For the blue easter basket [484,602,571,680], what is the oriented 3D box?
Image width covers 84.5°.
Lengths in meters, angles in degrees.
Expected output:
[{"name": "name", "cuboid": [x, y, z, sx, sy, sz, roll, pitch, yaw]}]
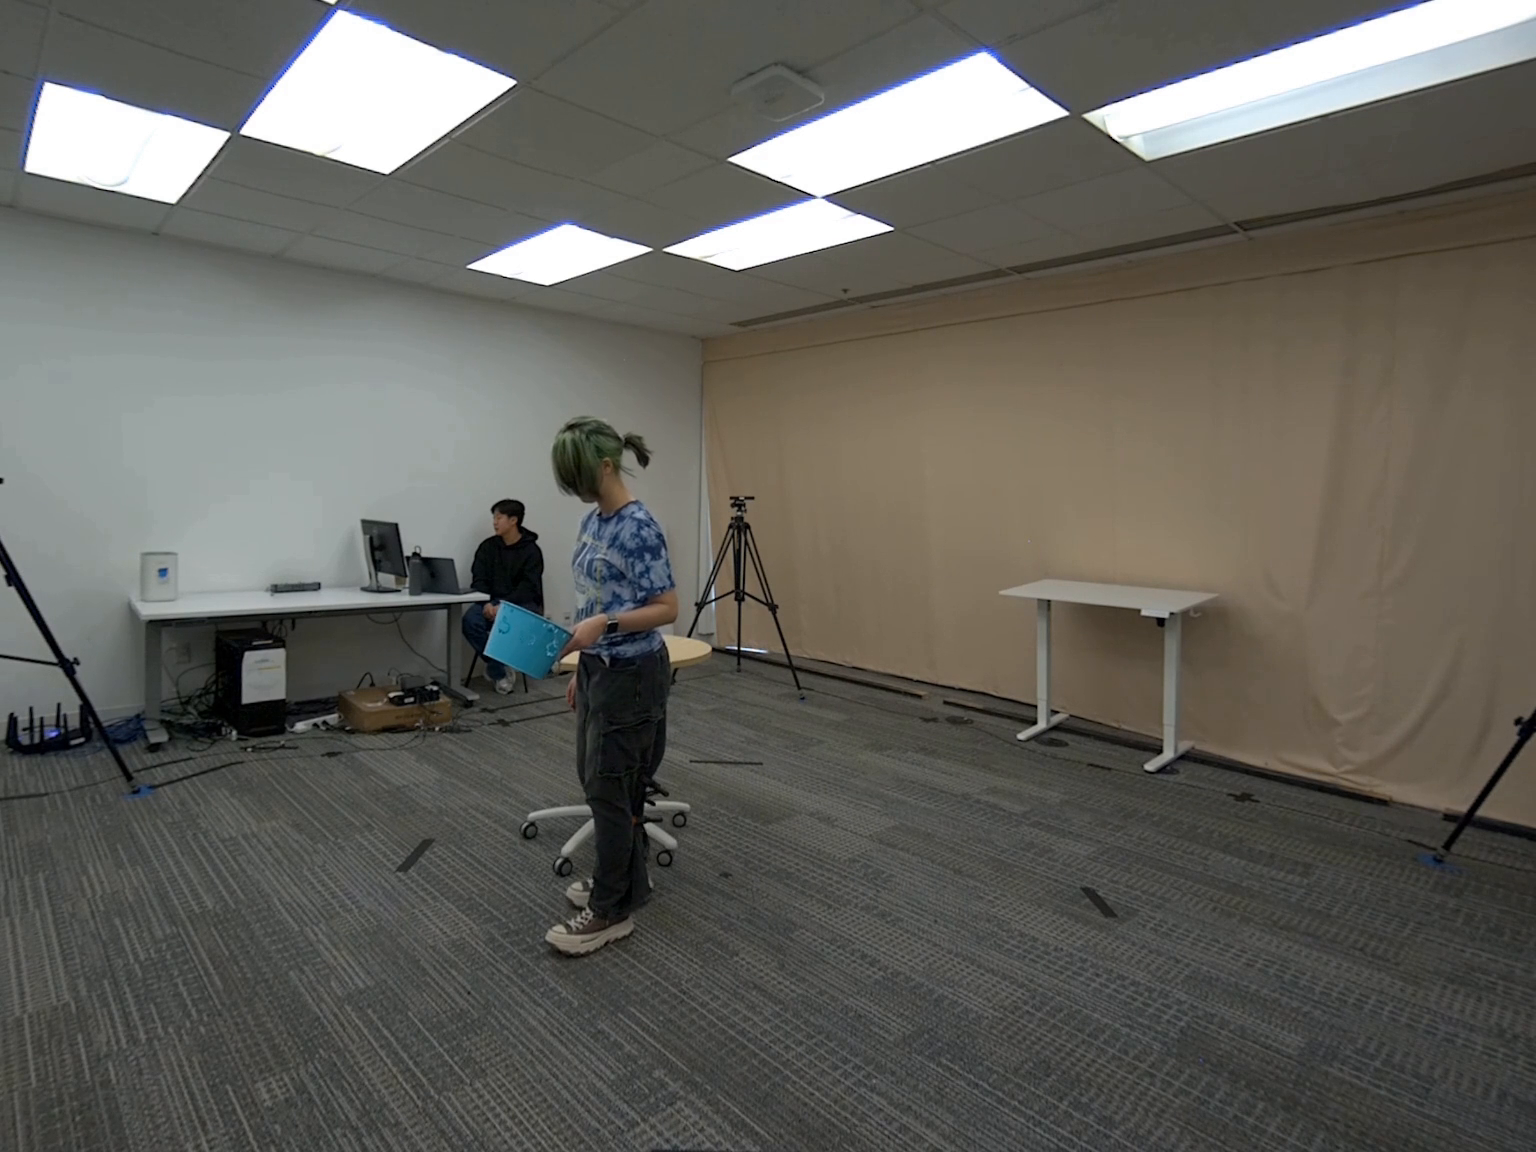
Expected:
[{"name": "blue easter basket", "cuboid": [-0.680, 0.192, 2.361, 0.244, 0.156, 0.242, 23, -10, 3]}]
